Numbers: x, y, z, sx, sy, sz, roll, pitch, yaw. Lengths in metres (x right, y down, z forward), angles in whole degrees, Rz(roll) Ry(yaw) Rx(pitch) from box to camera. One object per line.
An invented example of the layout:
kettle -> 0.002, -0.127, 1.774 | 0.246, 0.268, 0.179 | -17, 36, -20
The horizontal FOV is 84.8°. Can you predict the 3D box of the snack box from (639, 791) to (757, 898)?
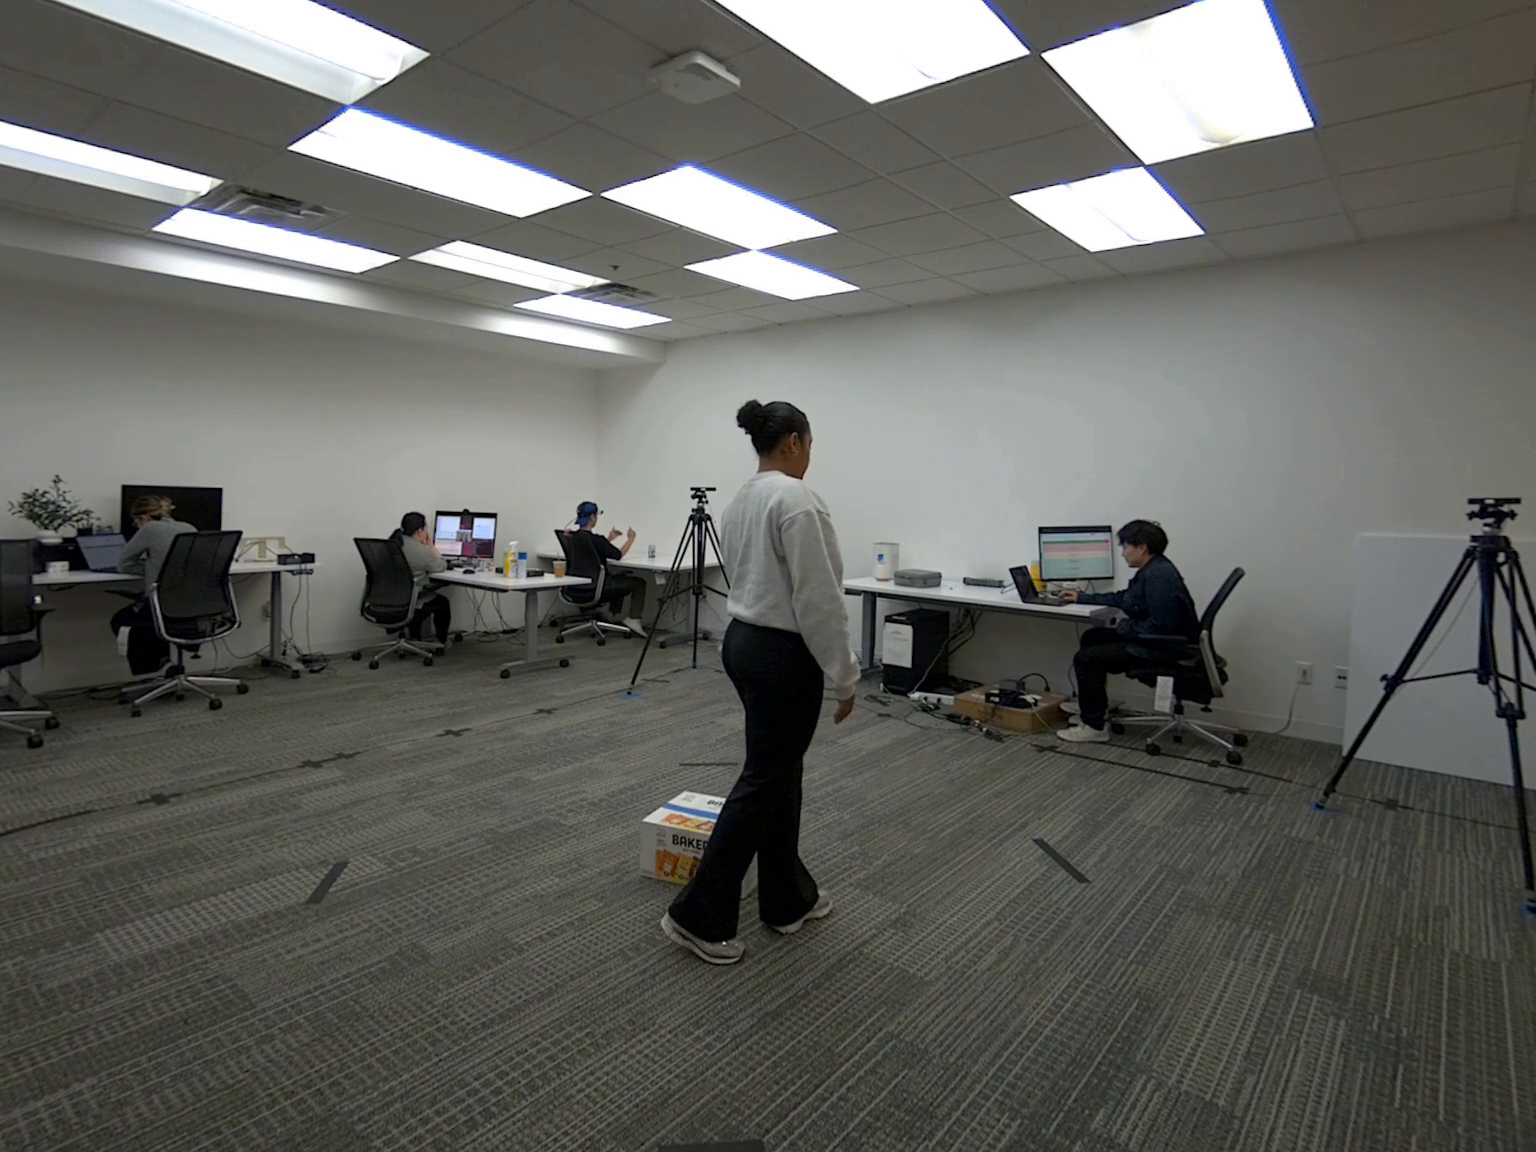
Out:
snack box -> -0.215, 0.966, 3.098 | 0.415, 0.205, 0.333 | 3, 5, 23
